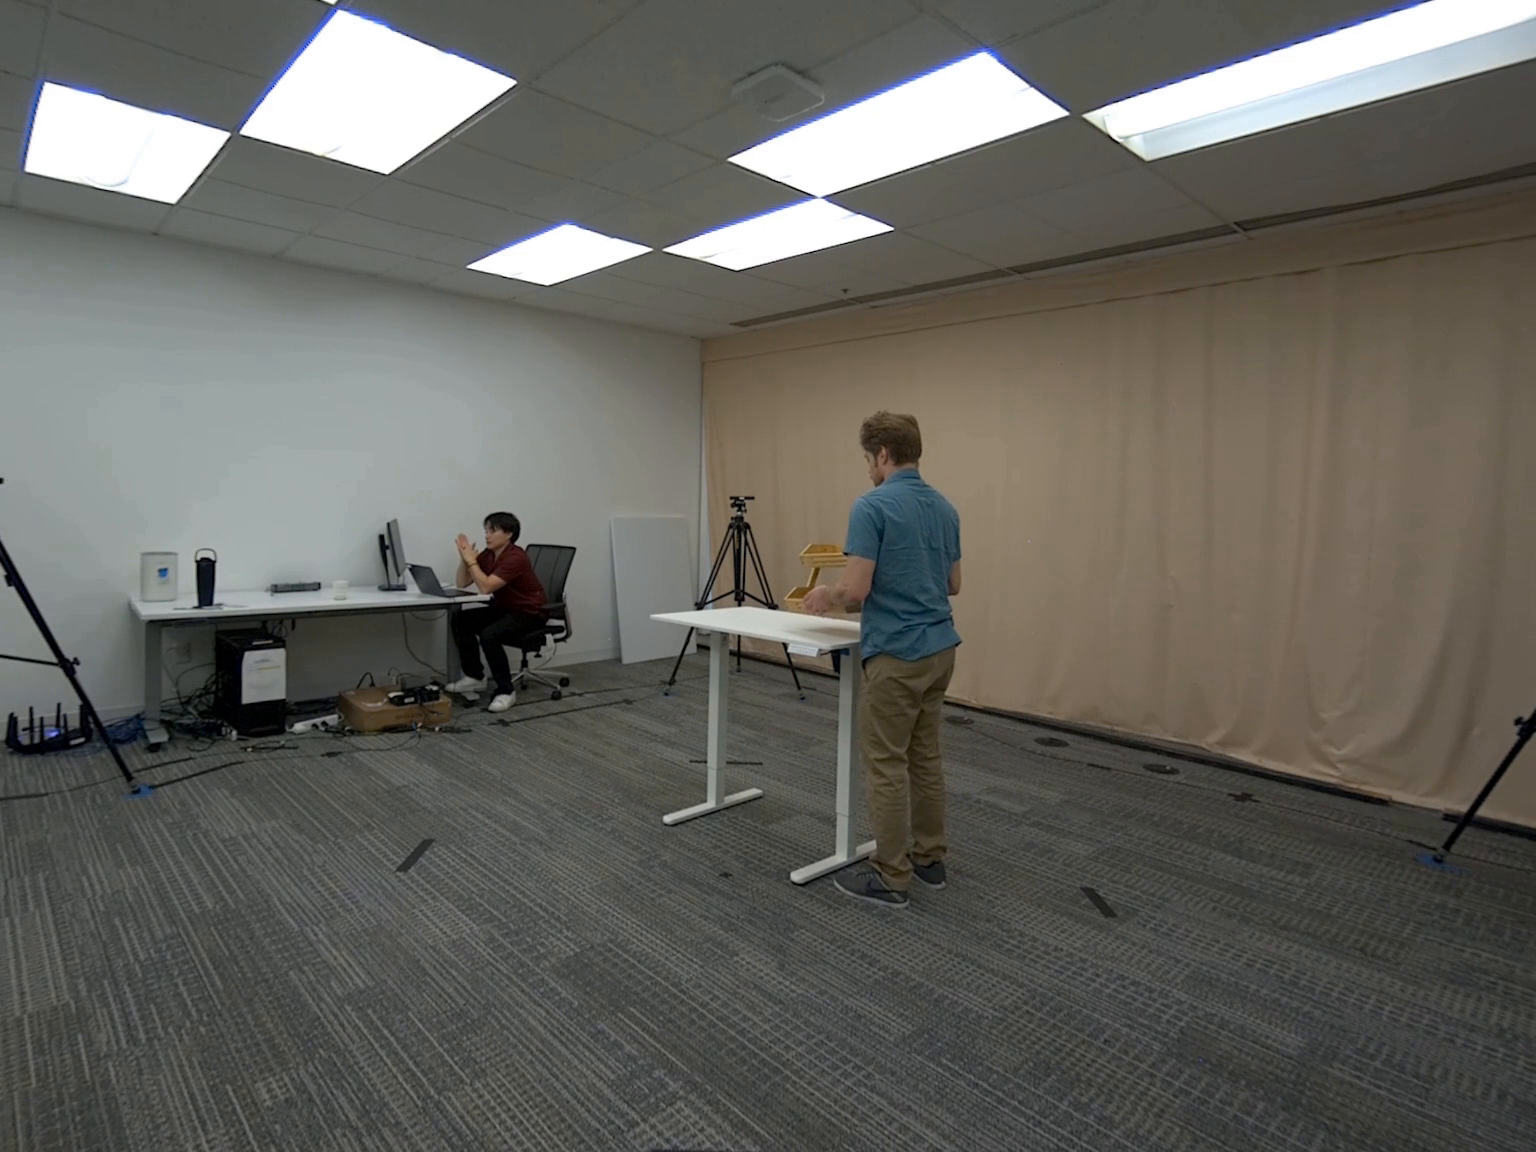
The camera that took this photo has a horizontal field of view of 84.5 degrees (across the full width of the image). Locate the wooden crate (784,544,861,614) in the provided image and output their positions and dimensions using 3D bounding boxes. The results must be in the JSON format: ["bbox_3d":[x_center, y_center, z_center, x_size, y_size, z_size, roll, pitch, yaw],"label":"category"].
[{"bbox_3d":[0.267,0.001,3.243,0.295,0.273,0.332,-1,0,-42],"label":"wooden crate"}]
